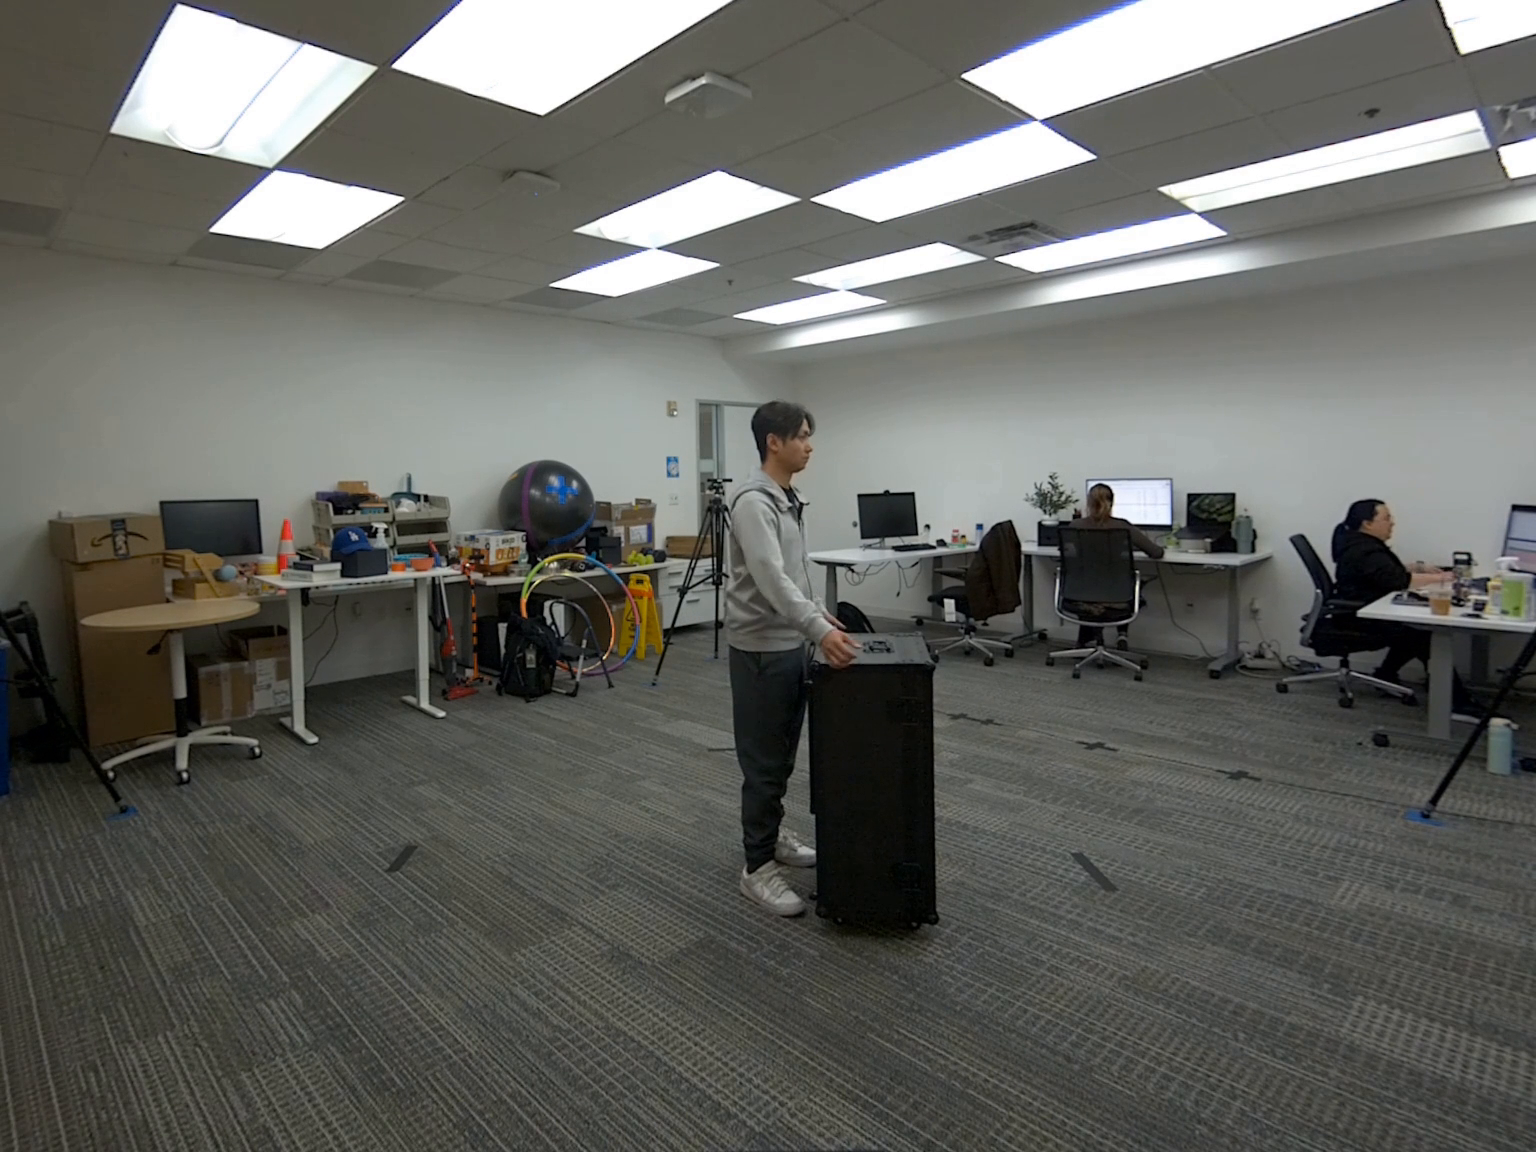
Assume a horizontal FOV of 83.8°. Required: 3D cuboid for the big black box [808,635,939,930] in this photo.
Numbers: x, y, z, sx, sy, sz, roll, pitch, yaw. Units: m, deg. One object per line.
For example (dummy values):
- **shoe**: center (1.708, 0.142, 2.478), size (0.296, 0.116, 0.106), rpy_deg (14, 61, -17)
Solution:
- **big black box**: center (0.331, 0.653, 2.761), size (0.400, 0.859, 0.519), rpy_deg (-2, 4, 8)
